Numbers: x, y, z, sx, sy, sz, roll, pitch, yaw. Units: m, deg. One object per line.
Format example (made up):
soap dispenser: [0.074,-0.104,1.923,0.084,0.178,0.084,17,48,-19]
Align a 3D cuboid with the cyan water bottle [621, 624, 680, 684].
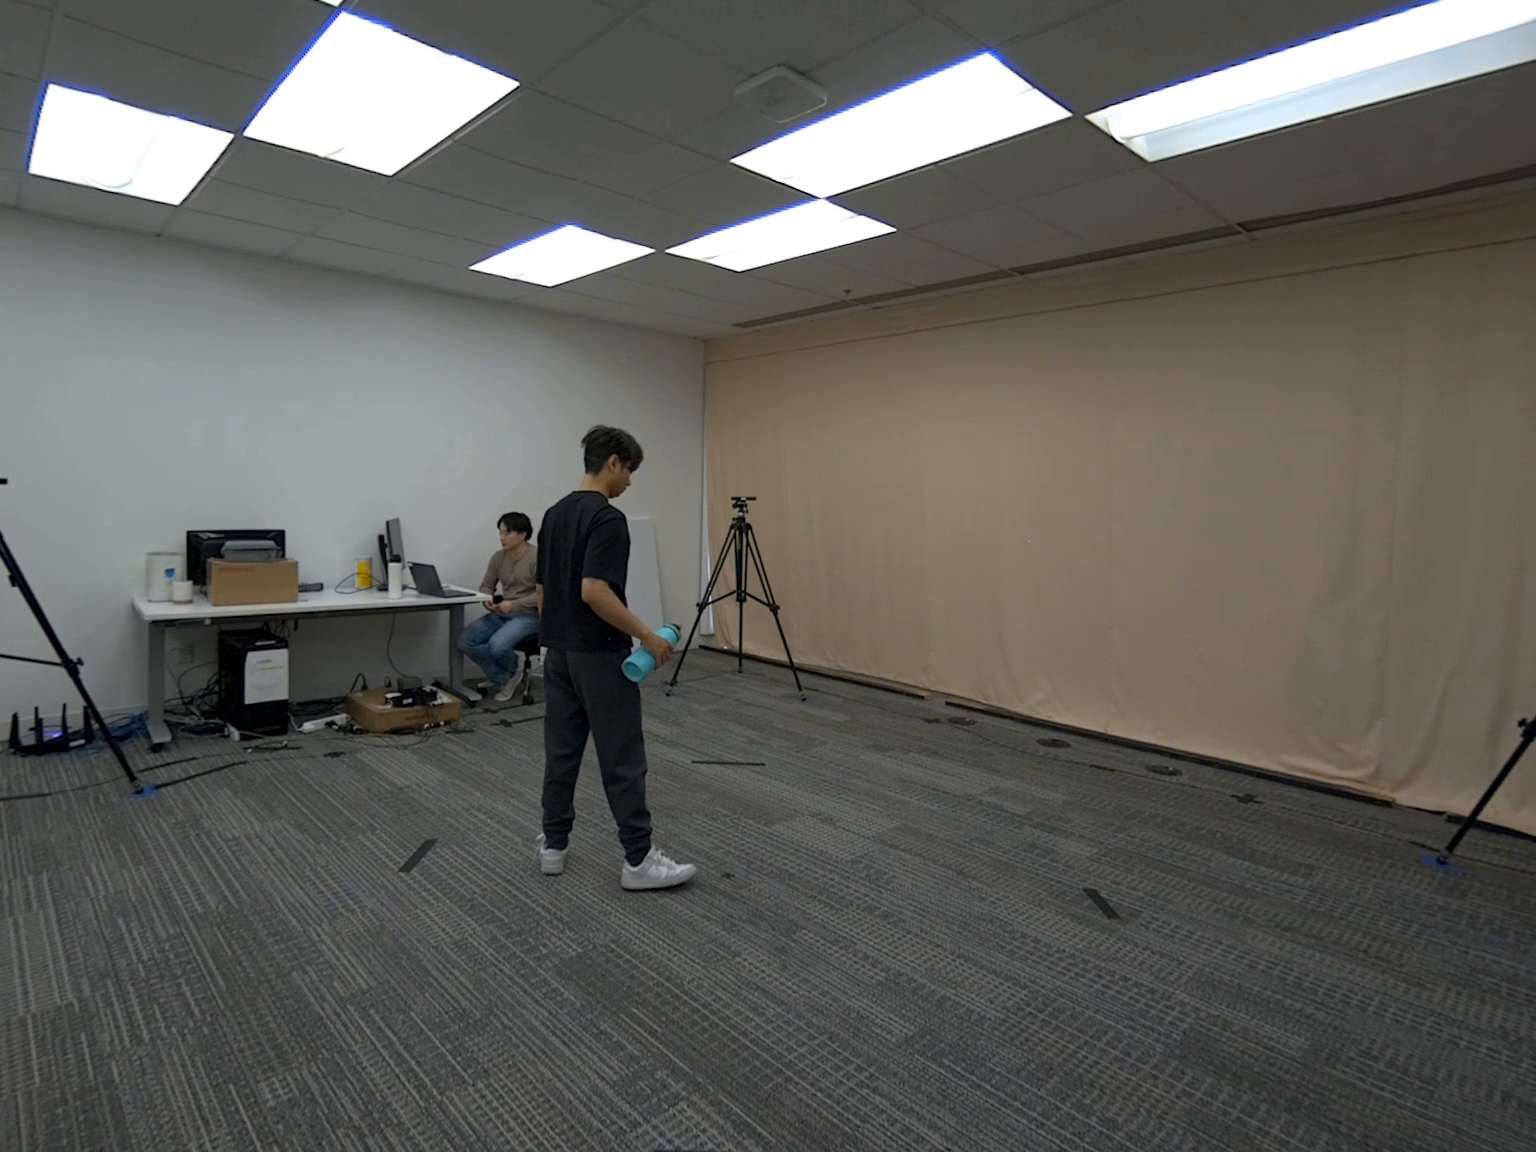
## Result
cyan water bottle: [-0.403,0.257,2.968,0.094,0.090,0.283,3,31,28]
